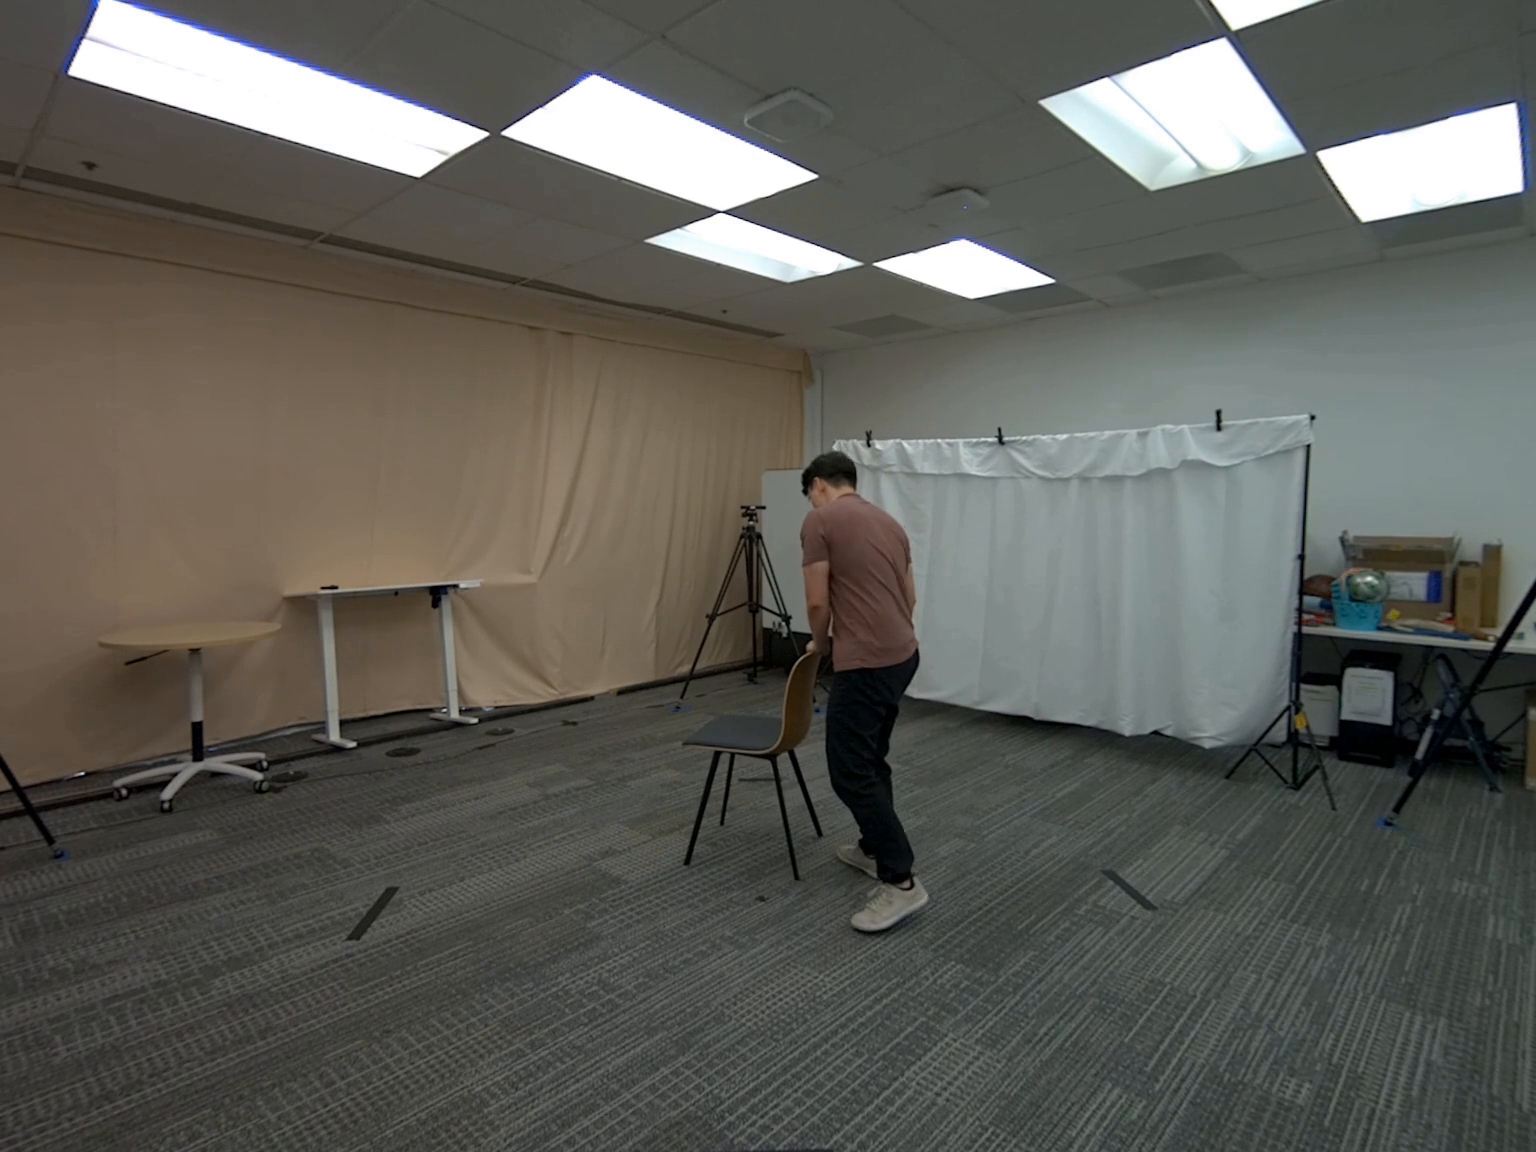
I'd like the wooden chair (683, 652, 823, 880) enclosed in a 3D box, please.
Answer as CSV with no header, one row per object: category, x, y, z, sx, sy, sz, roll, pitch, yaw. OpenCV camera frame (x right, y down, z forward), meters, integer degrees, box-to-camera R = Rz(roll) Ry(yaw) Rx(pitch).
wooden chair,-0.058,0.686,3.370,0.534,0.875,0.470,5,5,18
